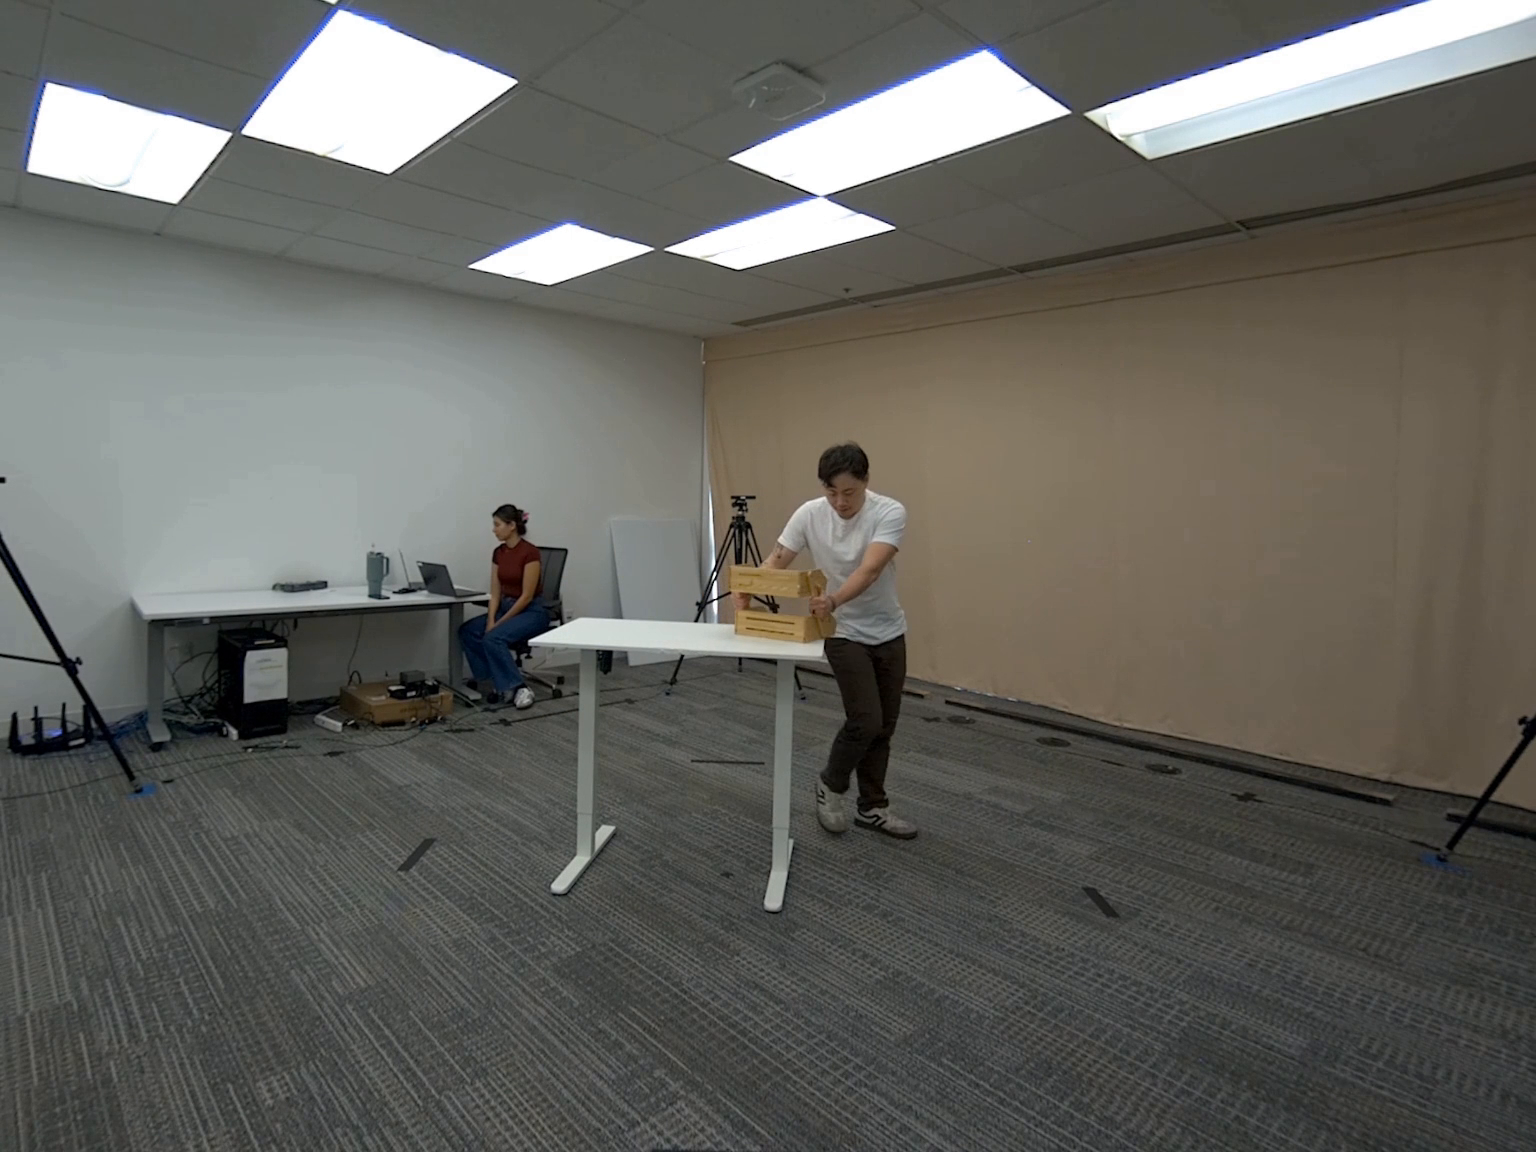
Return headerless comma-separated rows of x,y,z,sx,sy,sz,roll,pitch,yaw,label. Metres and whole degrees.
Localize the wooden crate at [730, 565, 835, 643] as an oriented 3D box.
0.048,0.092,3.137,0.332,0.272,0.296,4,5,31,wooden crate
